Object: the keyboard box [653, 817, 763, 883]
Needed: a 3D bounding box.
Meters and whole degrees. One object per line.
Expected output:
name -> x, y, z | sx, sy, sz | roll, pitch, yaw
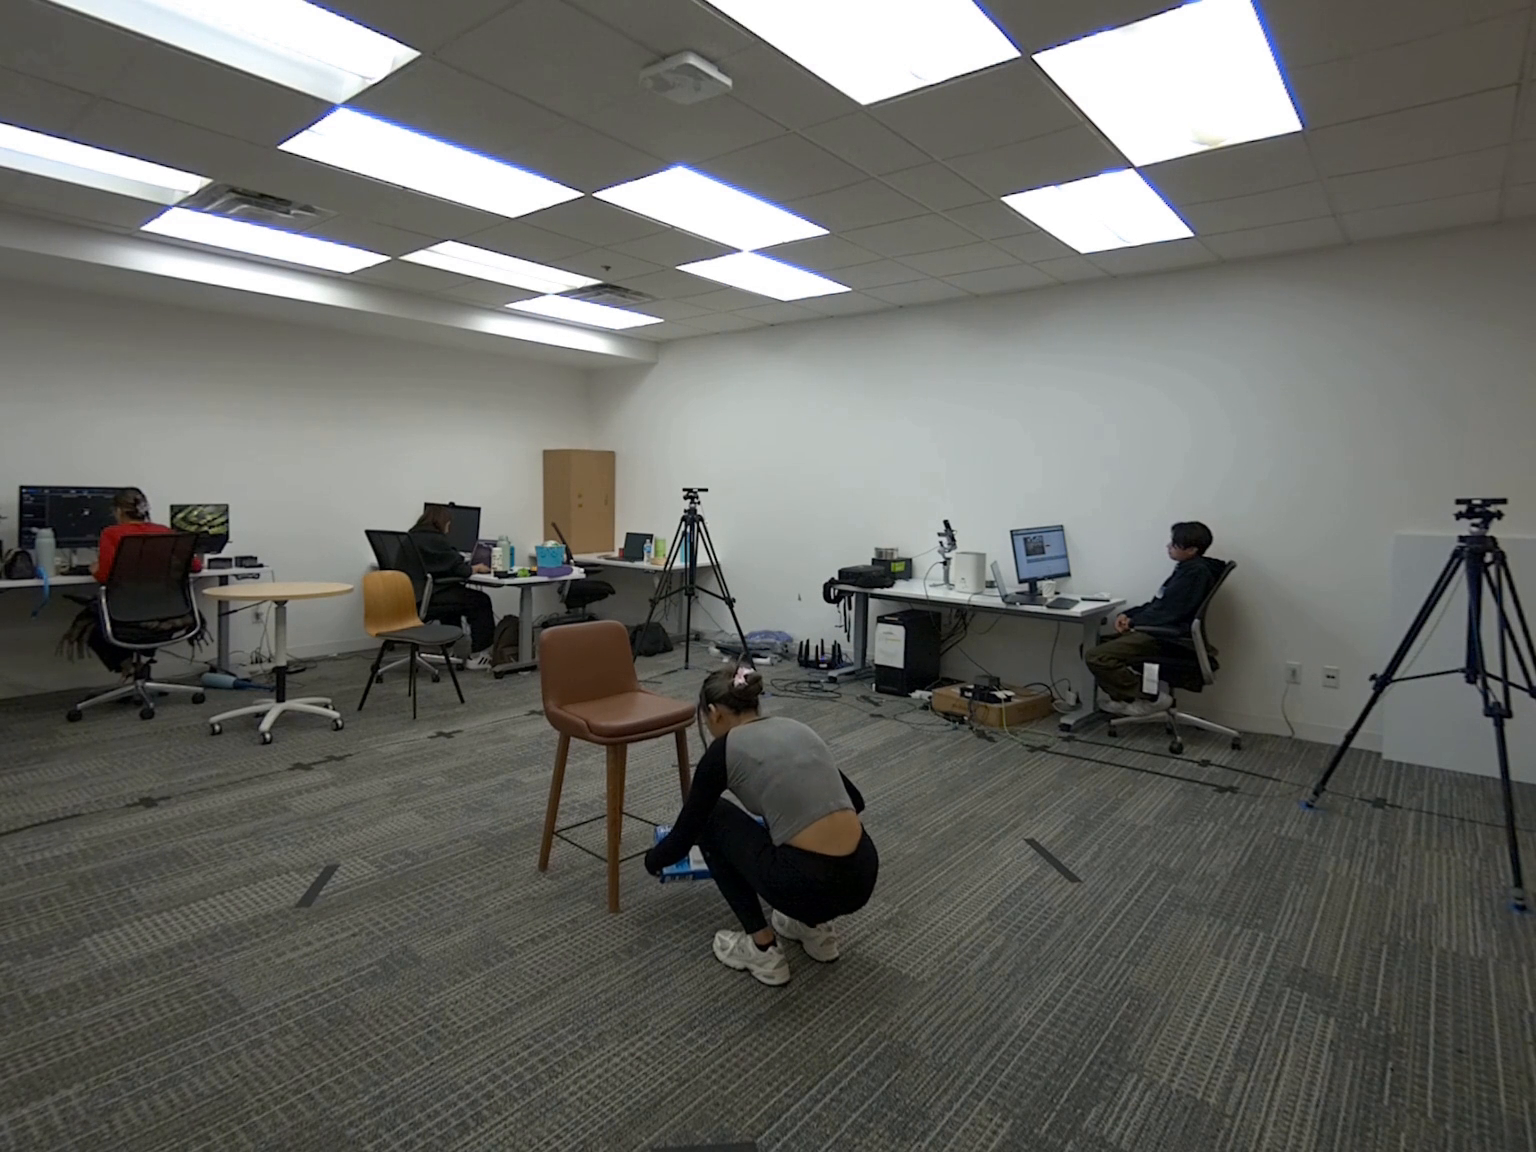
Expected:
keyboard box -> -0.150, 0.907, 2.836 | 0.431, 0.058, 0.182 | 2, 42, -12
